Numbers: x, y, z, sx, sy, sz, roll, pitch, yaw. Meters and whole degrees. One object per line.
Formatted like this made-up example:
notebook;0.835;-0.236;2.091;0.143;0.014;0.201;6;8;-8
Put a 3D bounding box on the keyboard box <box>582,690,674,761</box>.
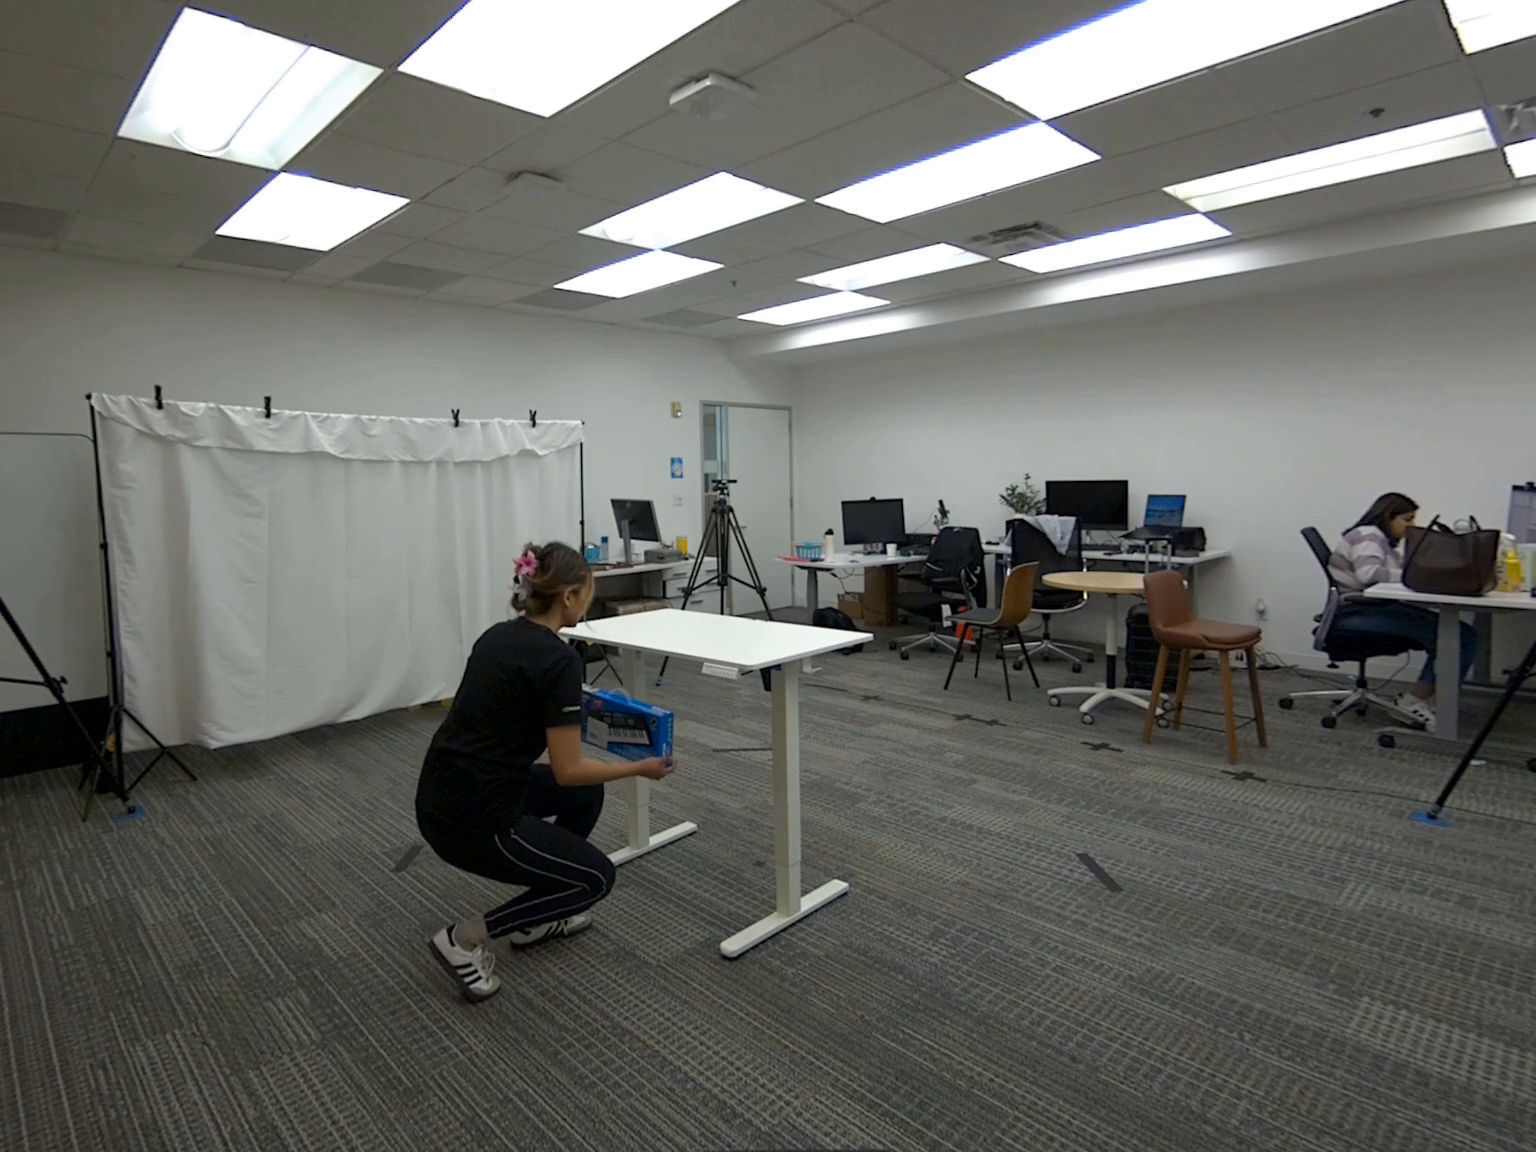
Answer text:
keyboard box;-0.472;0.476;2.707;0.451;0.175;0.057;8;8;41
